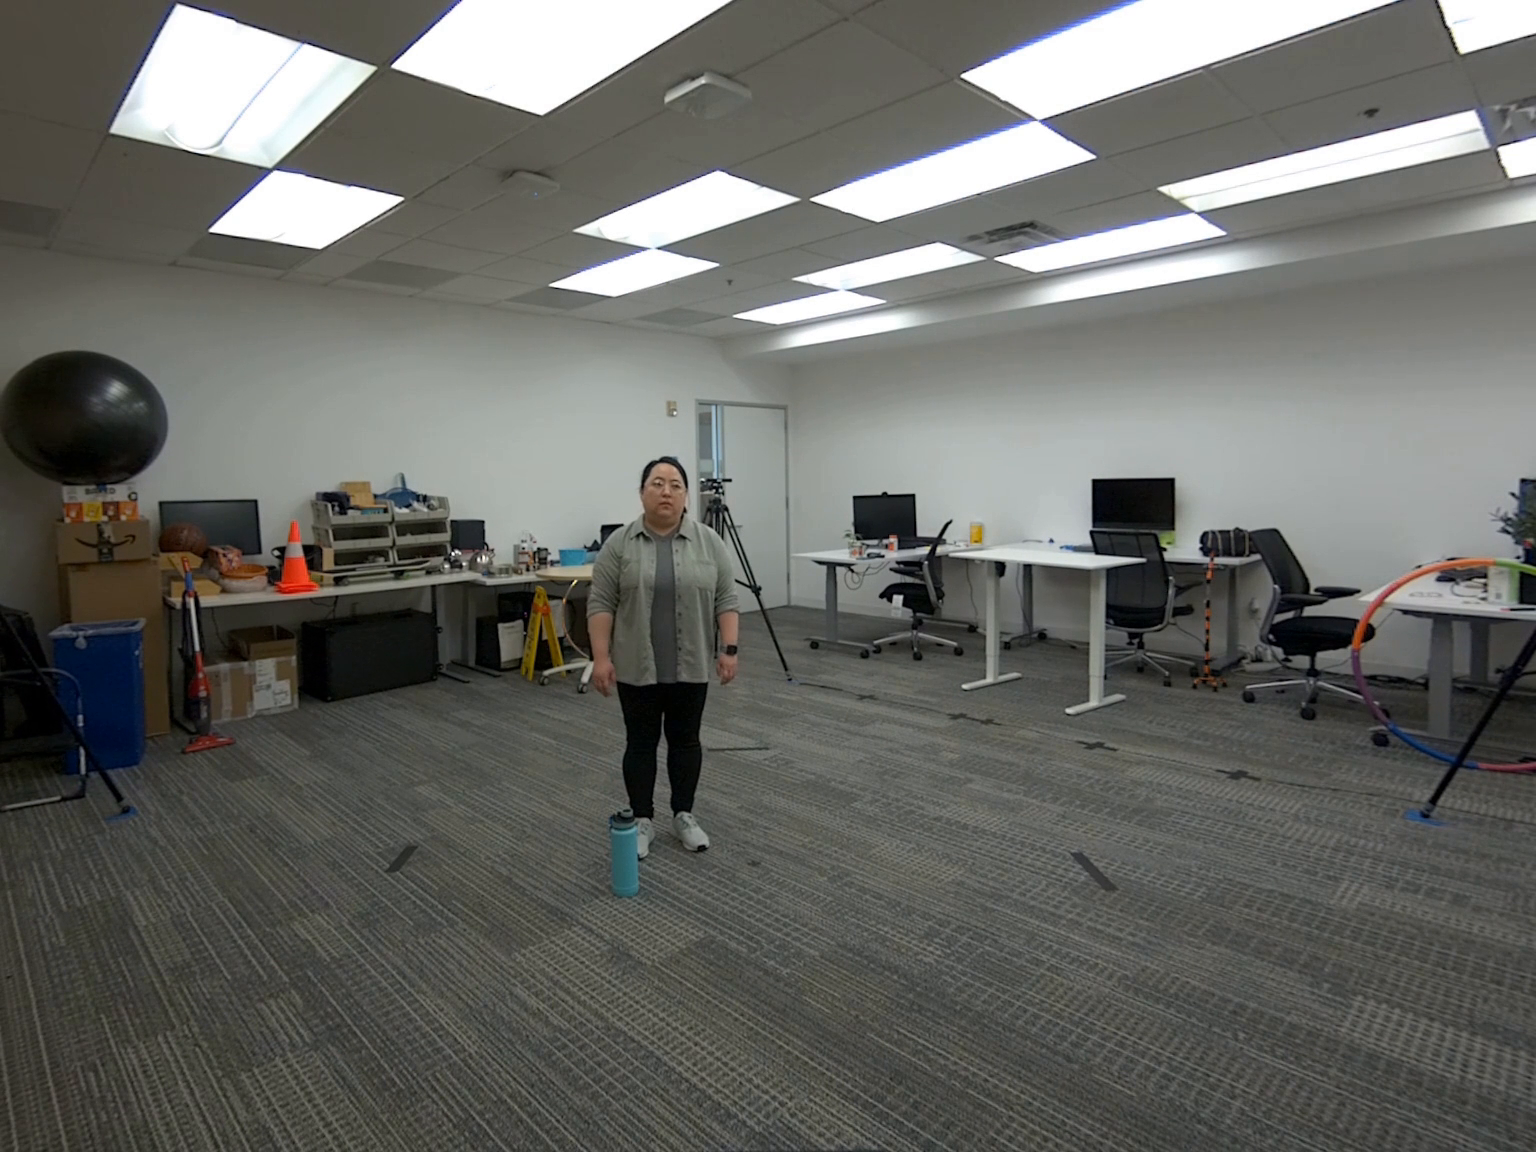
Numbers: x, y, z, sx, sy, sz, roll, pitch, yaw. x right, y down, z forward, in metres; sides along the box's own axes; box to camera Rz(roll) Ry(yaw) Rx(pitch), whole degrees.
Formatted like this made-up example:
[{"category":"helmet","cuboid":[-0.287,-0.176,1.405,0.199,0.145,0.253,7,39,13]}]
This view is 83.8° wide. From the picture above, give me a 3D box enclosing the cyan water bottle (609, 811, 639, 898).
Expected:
[{"category":"cyan water bottle","cuboid":[-0.494,0.939,2.903,0.092,0.282,0.093,-2,4,-1]}]
